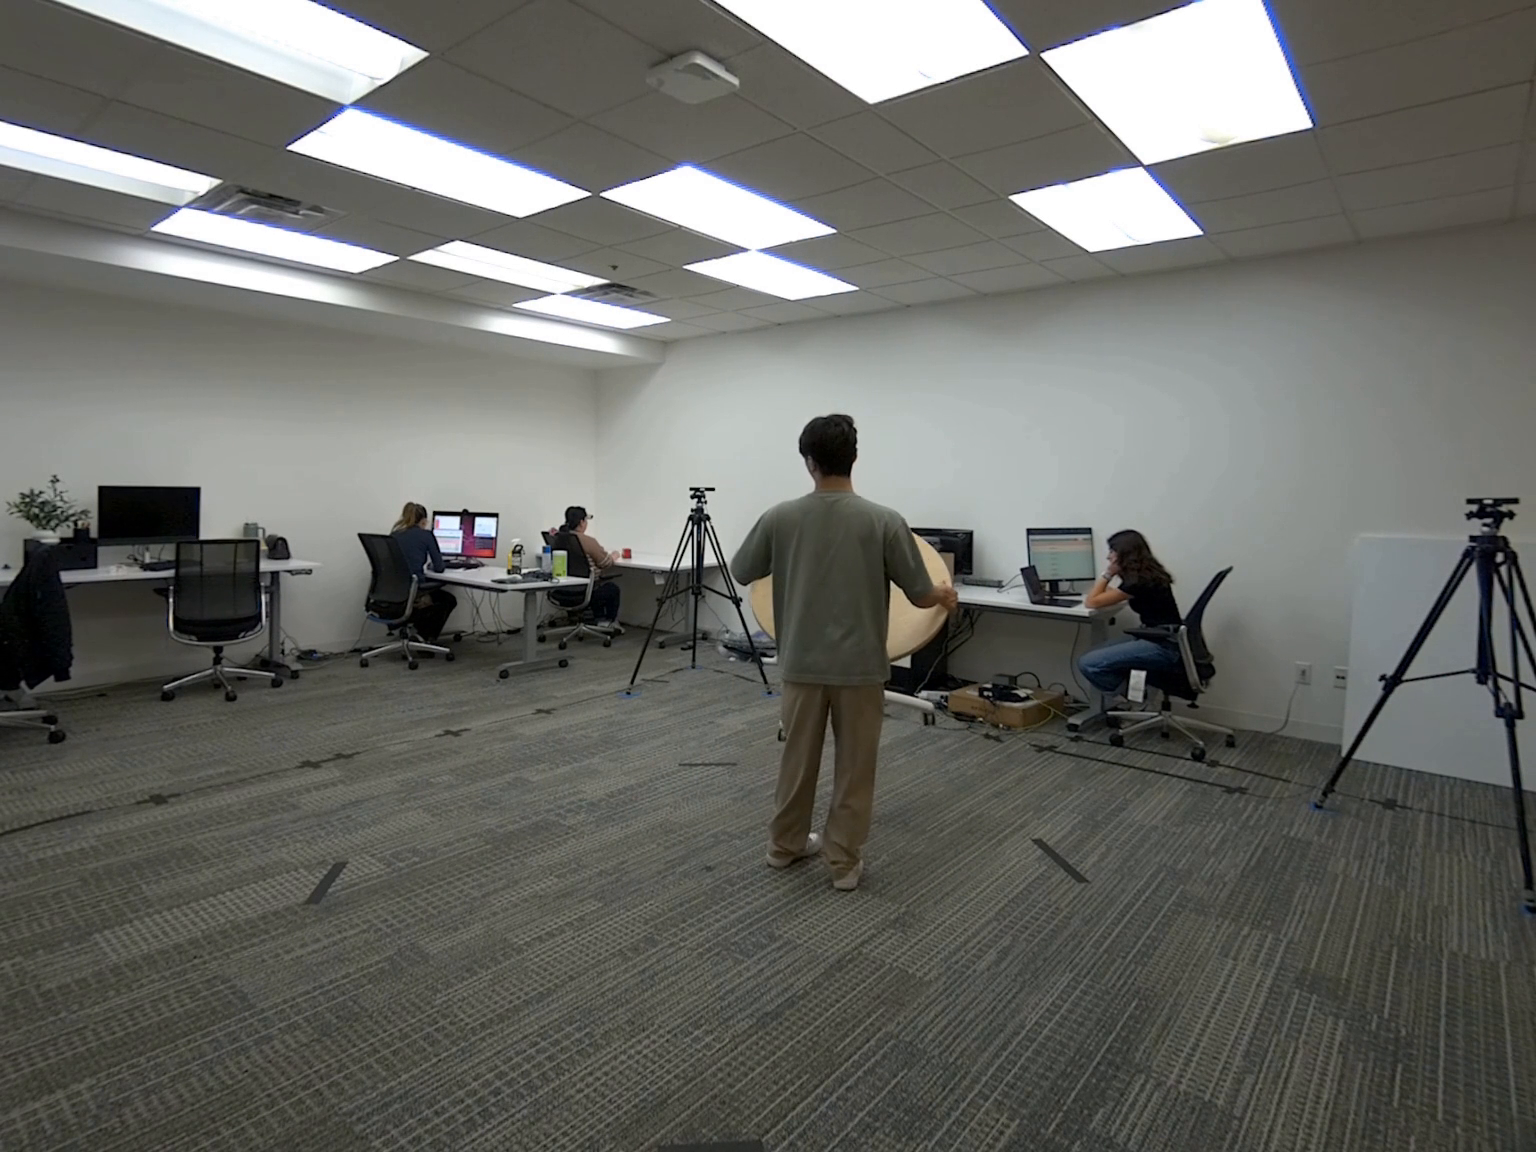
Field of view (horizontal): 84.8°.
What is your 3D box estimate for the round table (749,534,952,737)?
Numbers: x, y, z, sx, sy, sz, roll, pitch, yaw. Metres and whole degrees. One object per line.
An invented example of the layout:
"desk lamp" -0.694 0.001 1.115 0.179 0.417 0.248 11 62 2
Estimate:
"round table" 0.333 0.307 3.528 0.788 0.760 0.808 -5 45 3
